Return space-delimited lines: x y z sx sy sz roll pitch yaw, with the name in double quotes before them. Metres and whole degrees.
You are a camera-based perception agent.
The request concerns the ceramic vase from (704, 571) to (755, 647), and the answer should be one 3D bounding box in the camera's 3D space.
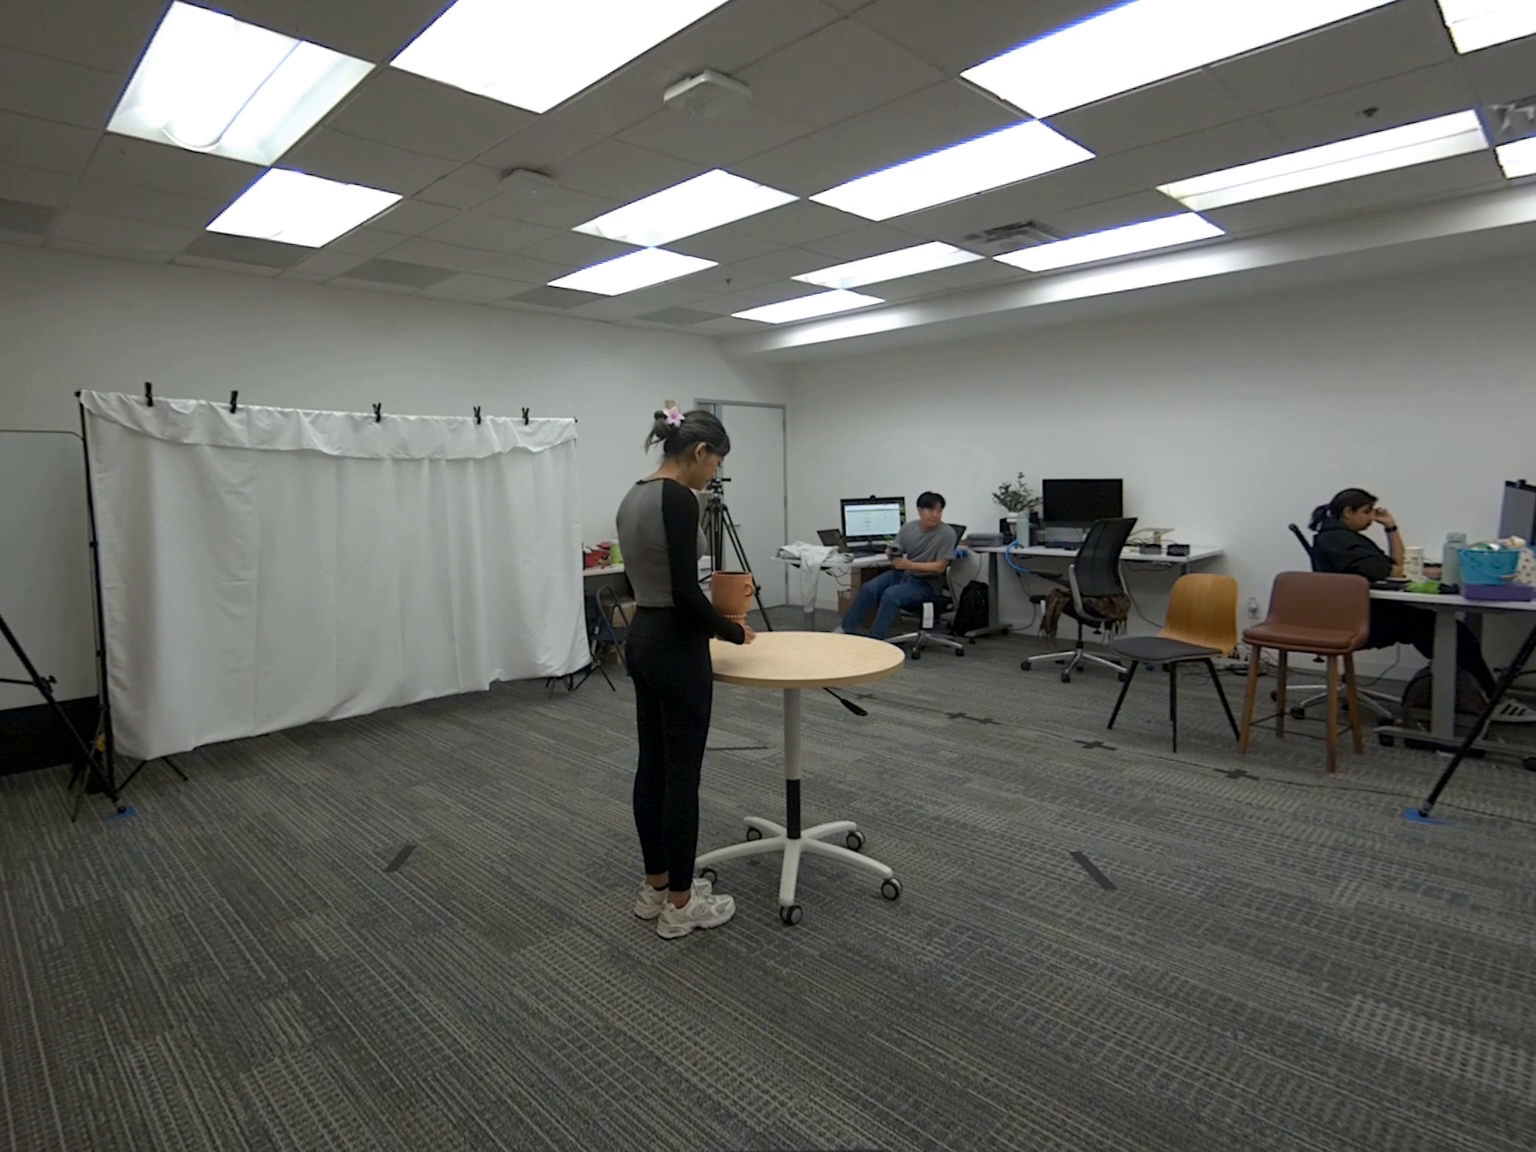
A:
"ceramic vase" -0.132 0.106 2.818 0.133 0.219 0.161 1 6 -11
